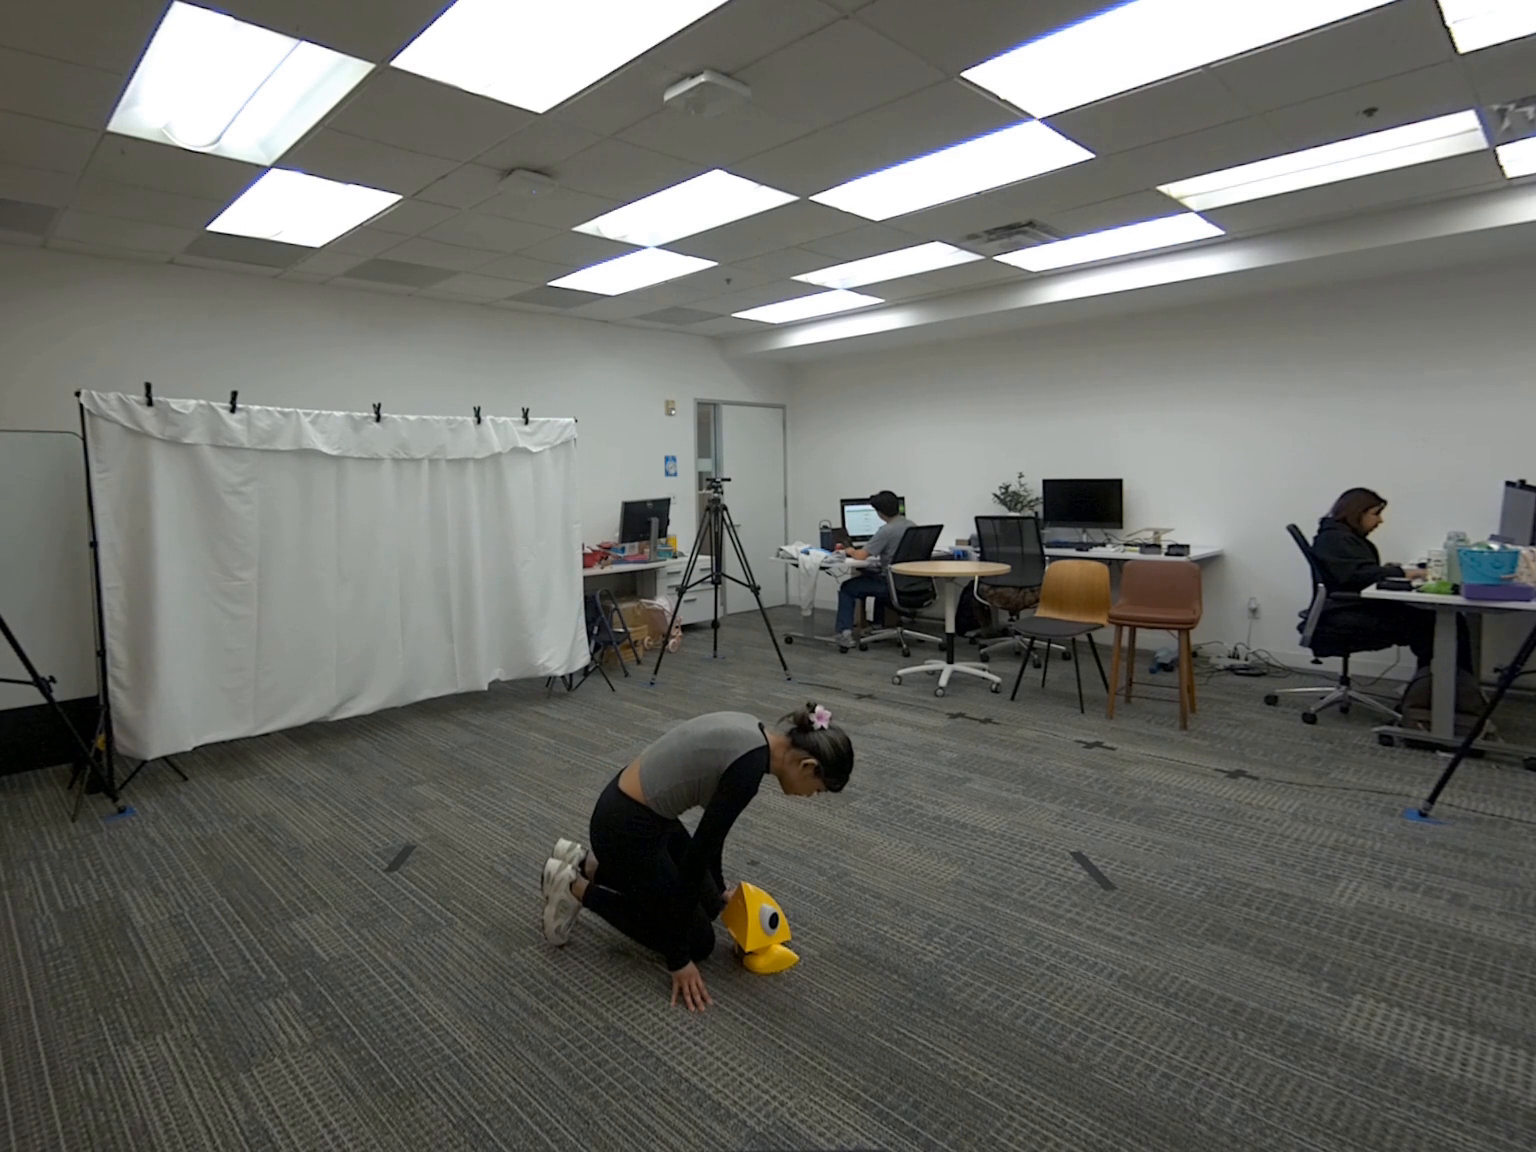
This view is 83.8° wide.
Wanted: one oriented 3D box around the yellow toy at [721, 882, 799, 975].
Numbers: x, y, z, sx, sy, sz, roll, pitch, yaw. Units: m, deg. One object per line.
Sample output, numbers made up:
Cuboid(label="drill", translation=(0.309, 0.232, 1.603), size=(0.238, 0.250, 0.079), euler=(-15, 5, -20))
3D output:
Cuboid(label="yellow toy", translation=(-0.021, 0.994, 2.507), size=(0.189, 0.230, 0.209), euler=(-4, 6, -21))
